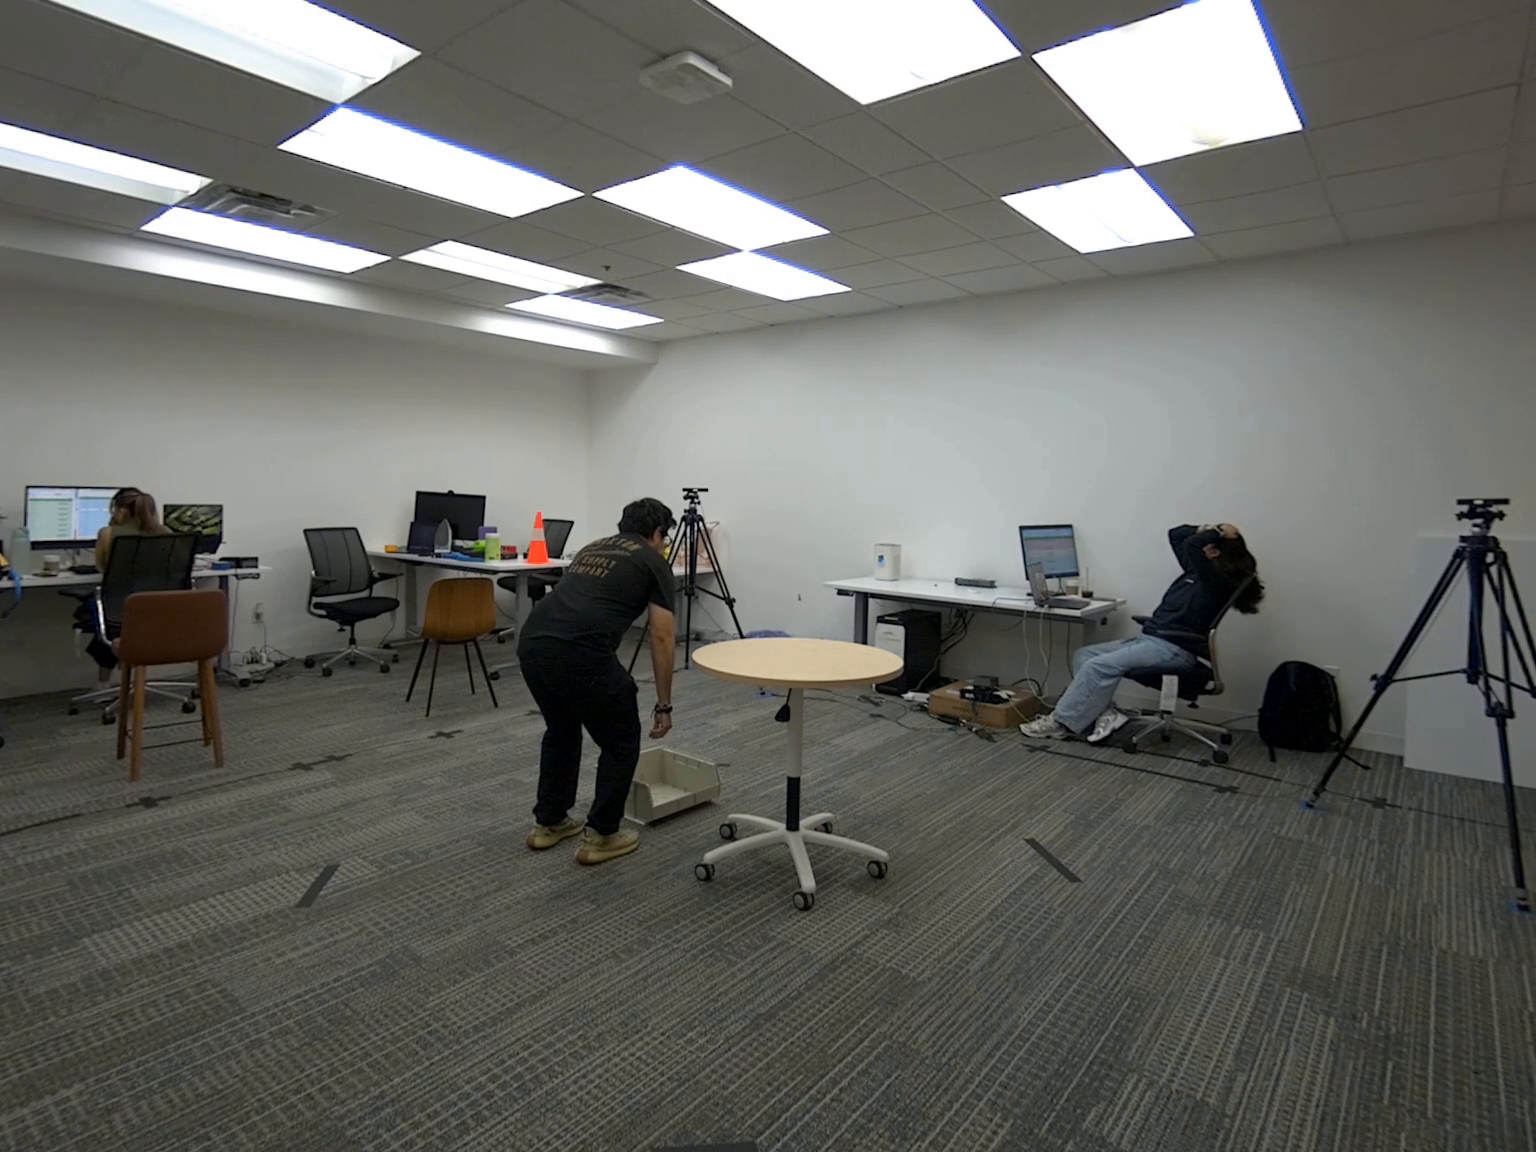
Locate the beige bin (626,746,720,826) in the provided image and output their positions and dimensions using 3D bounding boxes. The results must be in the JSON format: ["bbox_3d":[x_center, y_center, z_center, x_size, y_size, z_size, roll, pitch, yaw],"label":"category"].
[{"bbox_3d":[-0.496,0.917,3.740,0.390,0.188,0.410,4,6,41],"label":"beige bin"}]
